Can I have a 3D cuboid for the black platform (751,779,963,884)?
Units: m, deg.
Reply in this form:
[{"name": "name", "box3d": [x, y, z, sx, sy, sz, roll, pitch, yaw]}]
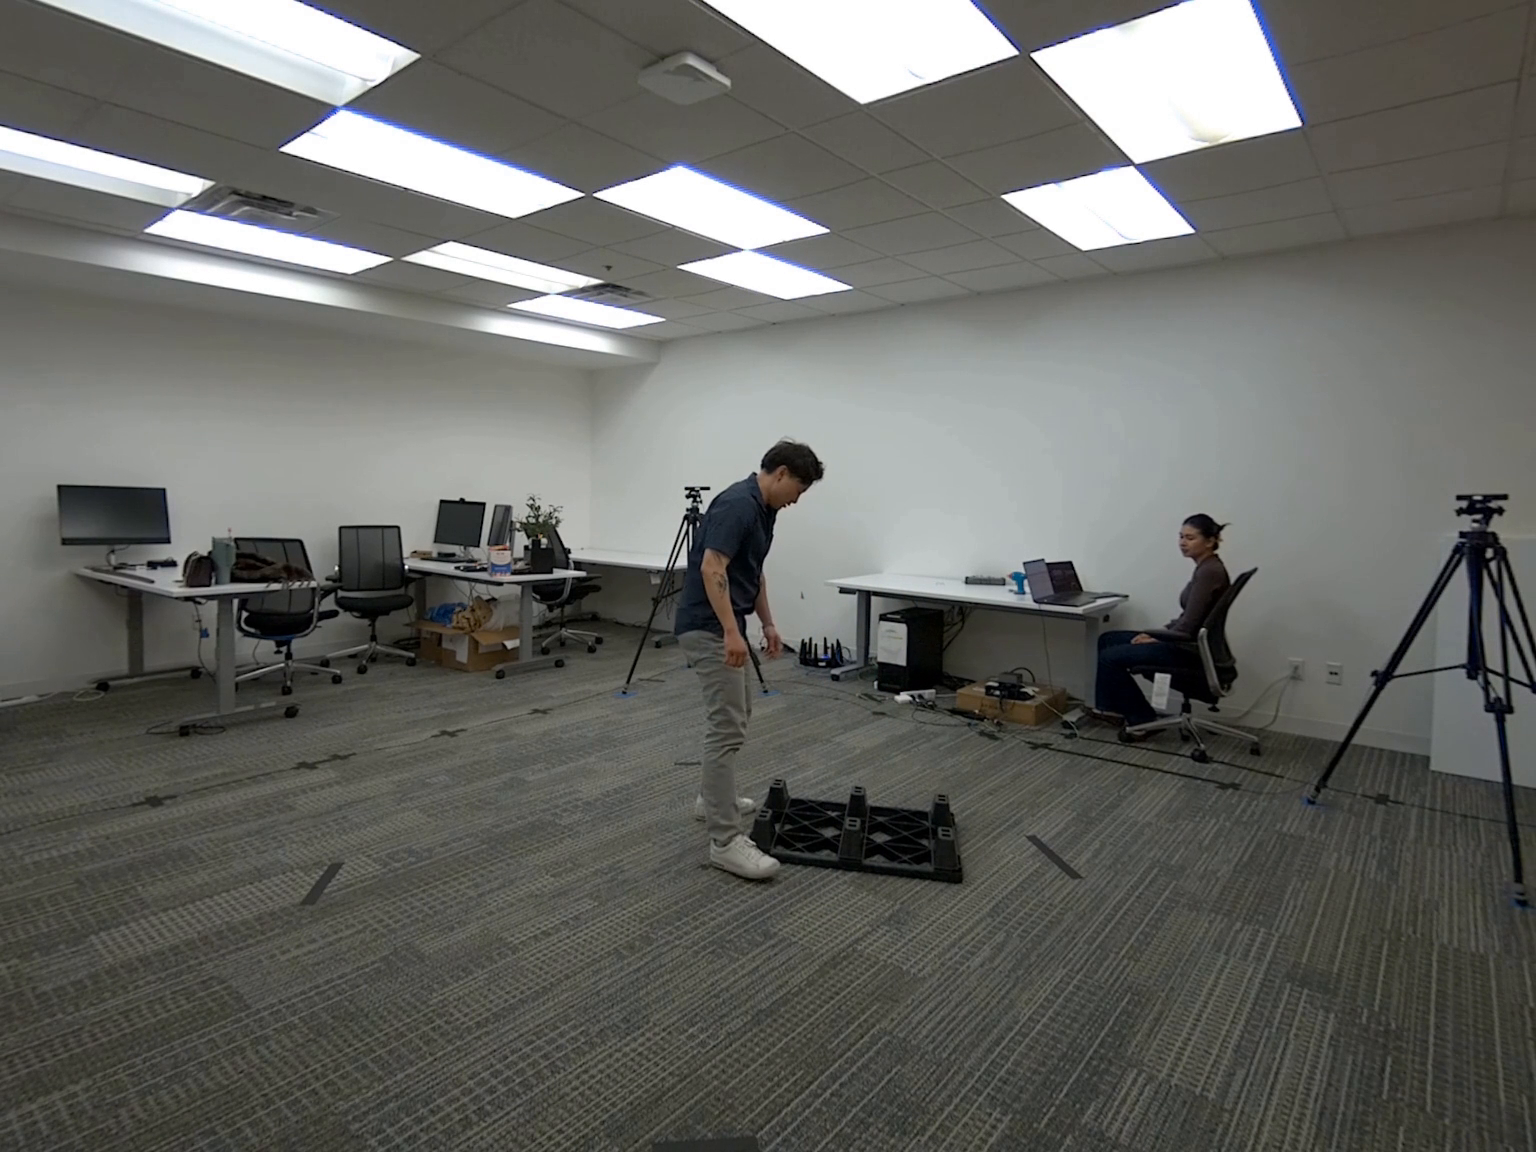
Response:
[{"name": "black platform", "box3d": [0.344, 0.981, 3.398, 0.816, 0.143, 0.600, 2, 6, 11]}]
